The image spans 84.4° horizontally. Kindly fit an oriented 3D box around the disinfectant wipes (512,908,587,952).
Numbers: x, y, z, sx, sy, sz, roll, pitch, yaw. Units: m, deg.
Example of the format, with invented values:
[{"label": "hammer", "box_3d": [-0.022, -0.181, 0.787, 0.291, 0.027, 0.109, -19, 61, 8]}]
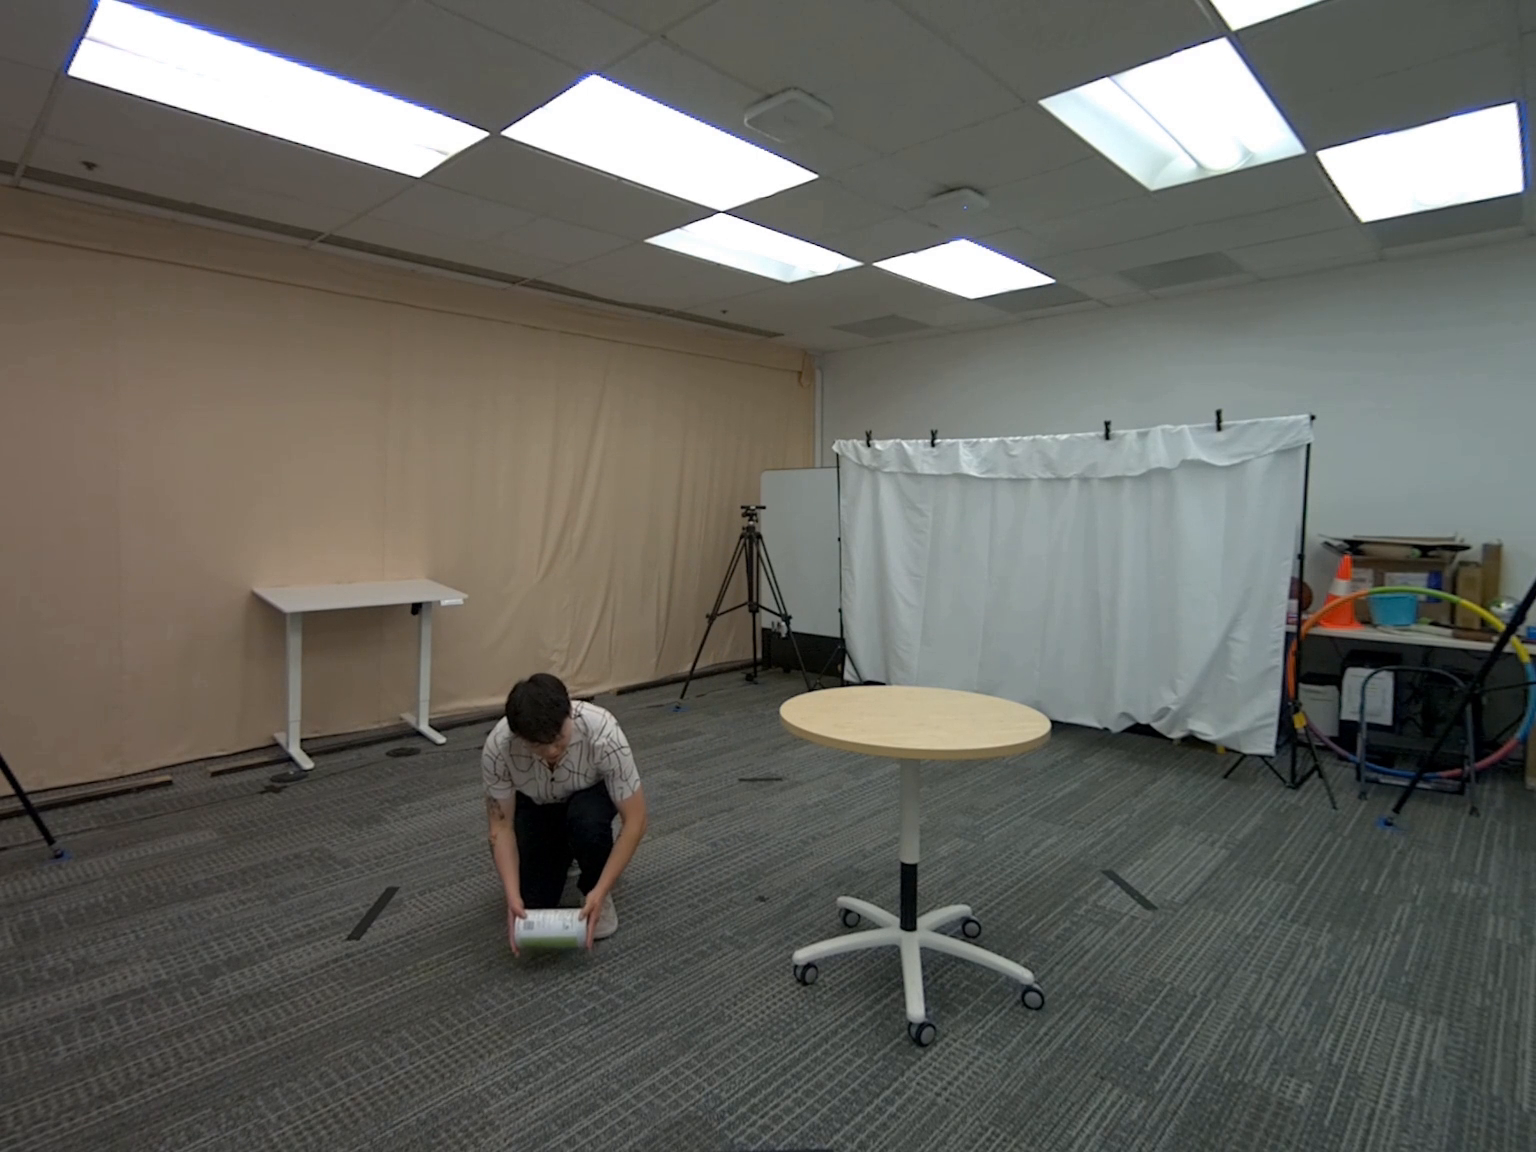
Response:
[{"label": "disinfectant wipes", "box_3d": [-0.652, 1.061, 2.553, 0.217, 0.117, 0.118, -2, 4, -2]}]
